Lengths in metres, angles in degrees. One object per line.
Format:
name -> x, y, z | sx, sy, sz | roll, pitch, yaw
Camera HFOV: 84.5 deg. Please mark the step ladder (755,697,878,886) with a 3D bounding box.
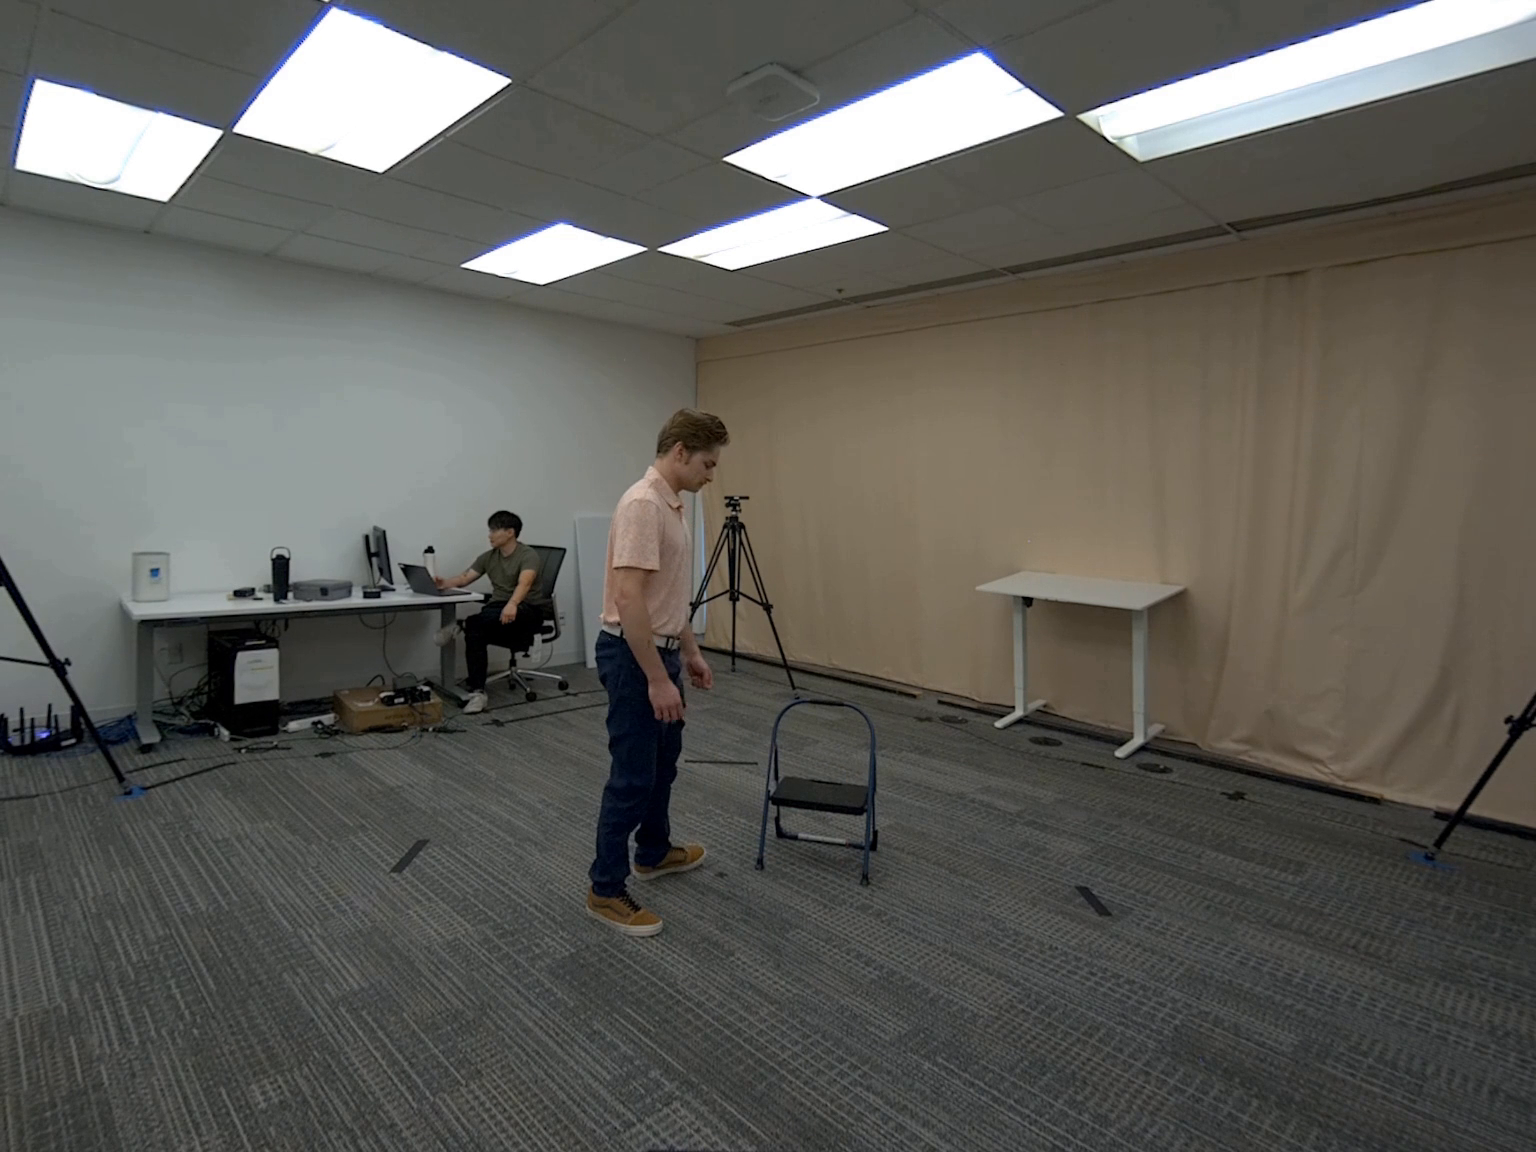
step ladder -> 0.200, 0.796, 3.251 | 0.436, 0.605, 0.346 | 3, 3, 15
